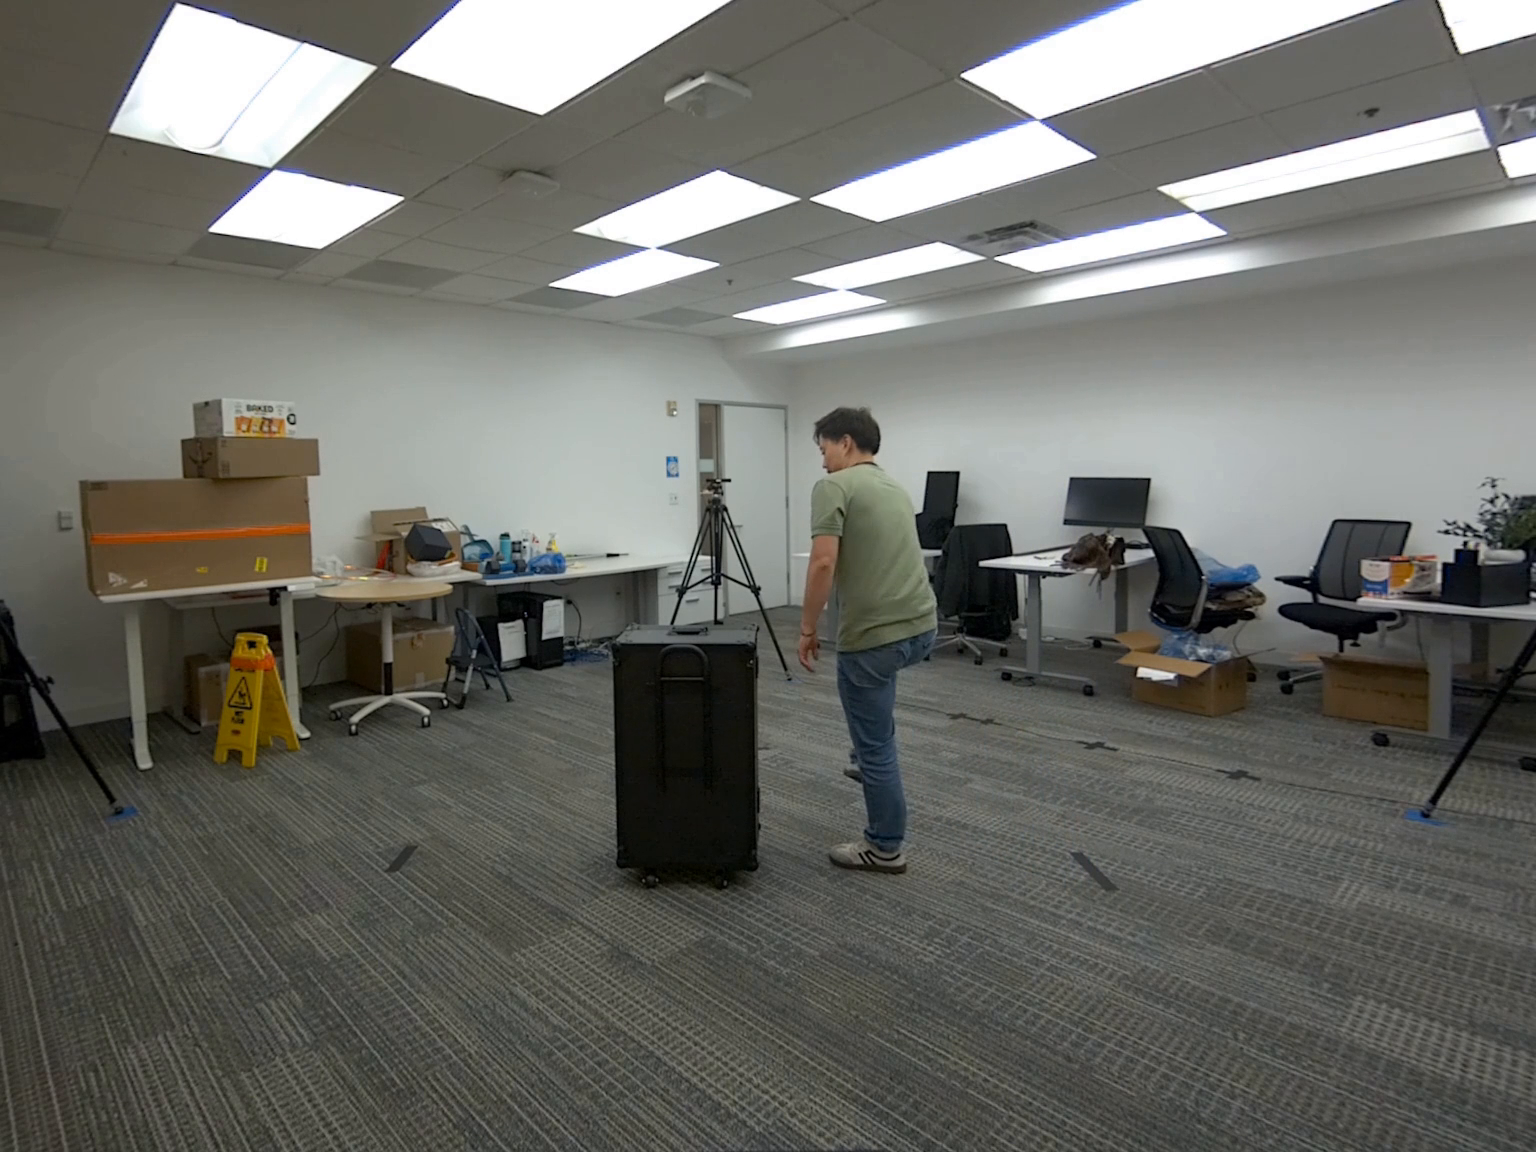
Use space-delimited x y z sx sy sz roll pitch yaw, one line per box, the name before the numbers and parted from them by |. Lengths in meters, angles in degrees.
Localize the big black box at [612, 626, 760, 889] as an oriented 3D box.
big black box | -0.269 0.633 3.049 0.524 0.858 0.396 0 5 4
